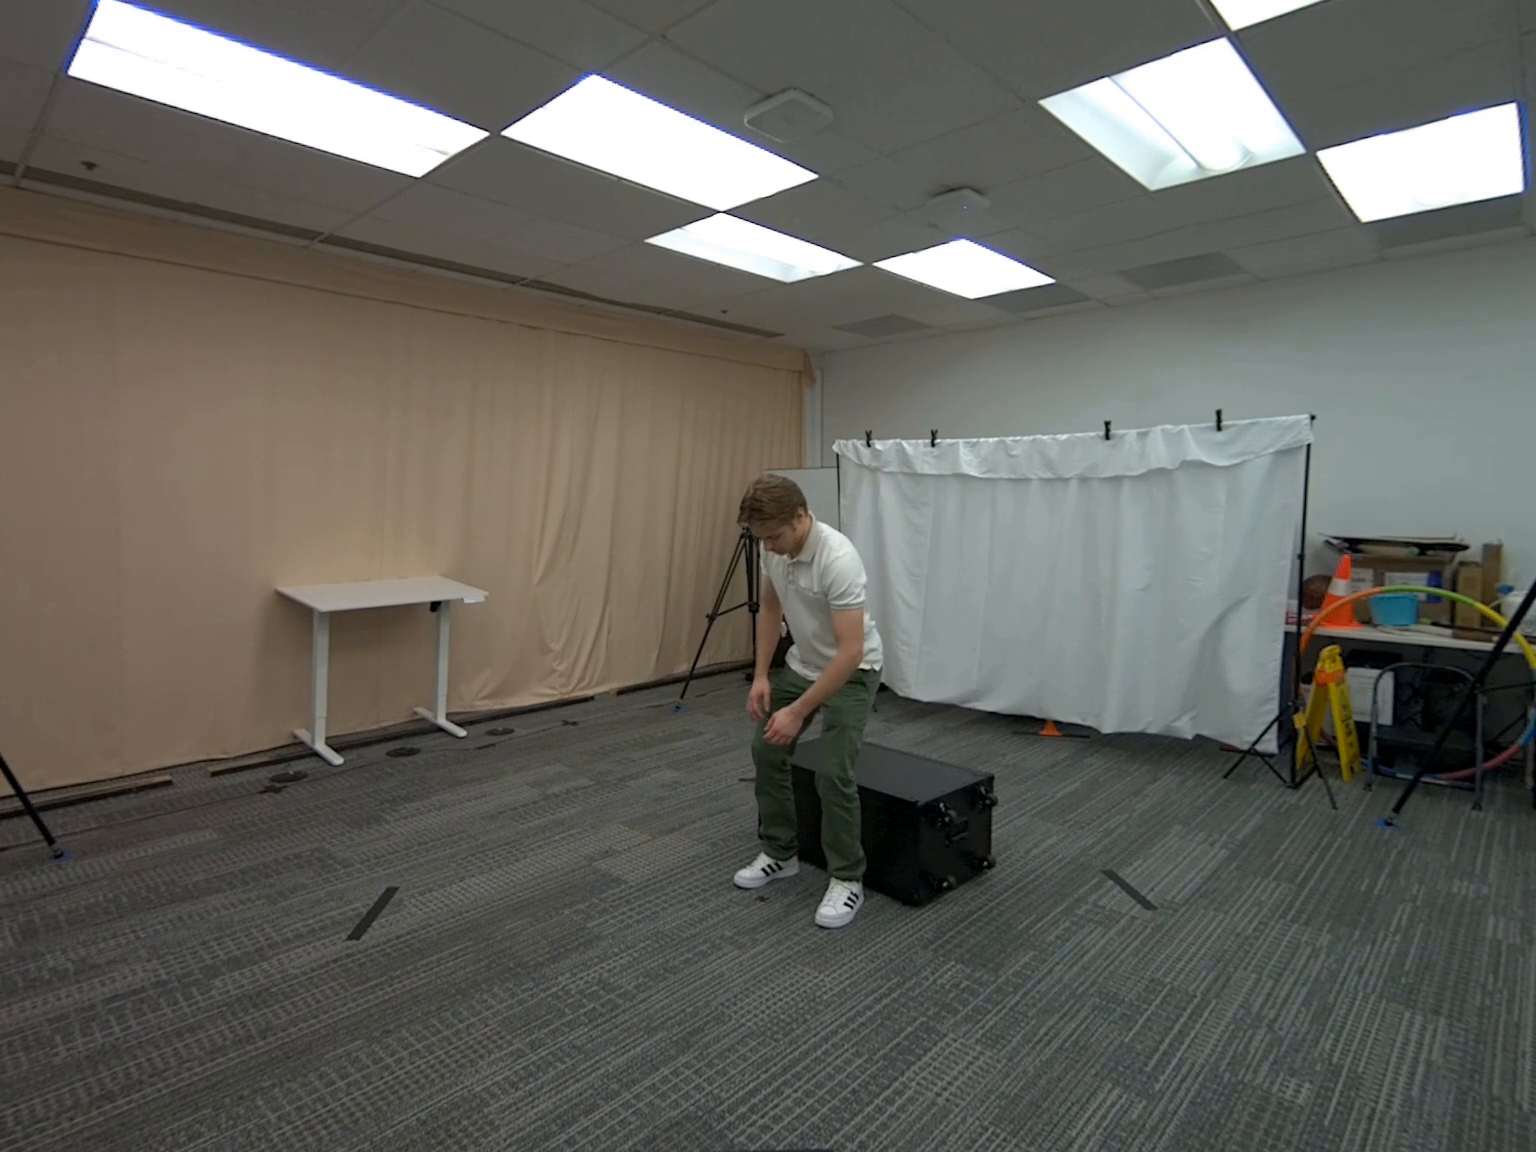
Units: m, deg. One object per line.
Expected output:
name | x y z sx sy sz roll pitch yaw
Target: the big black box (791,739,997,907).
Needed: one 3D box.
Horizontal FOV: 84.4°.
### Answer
big black box | 0.431 0.920 3.291 0.507 0.384 0.898 -2 4 -44
